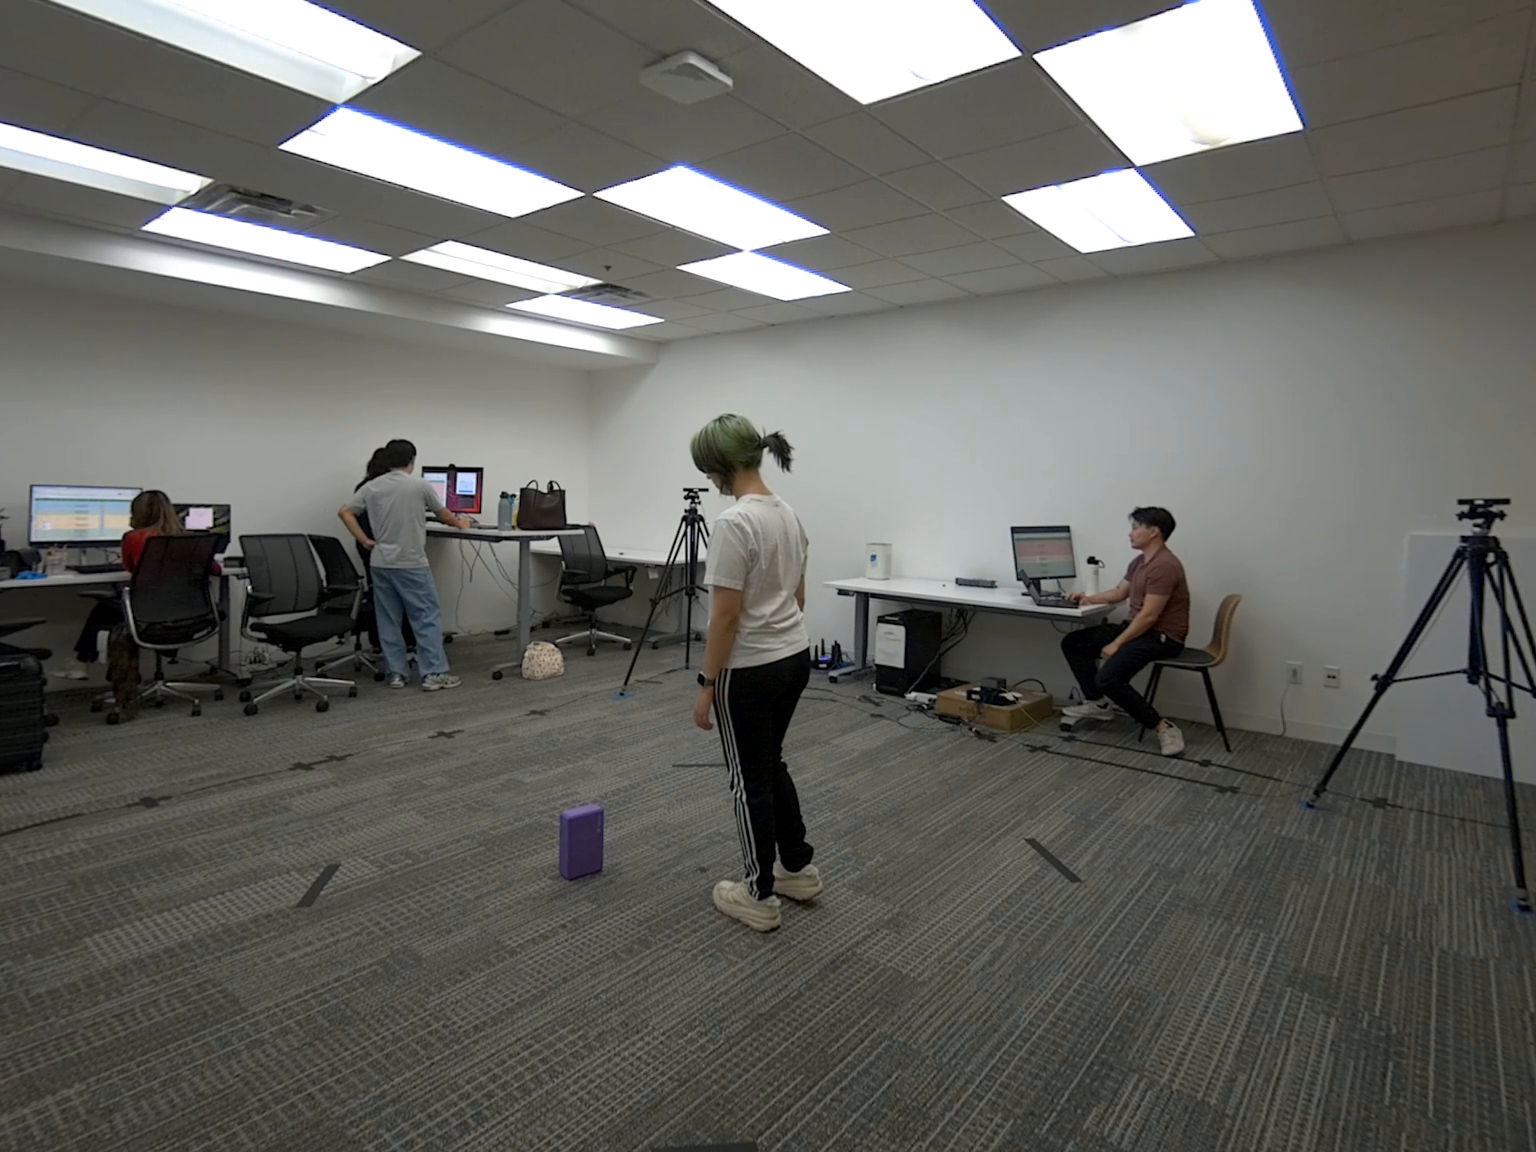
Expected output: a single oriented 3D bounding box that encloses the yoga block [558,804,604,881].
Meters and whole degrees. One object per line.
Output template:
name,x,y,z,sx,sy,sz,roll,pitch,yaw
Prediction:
yoga block,-0.679,0.949,3.053,0.144,0.228,0.079,-2,5,-42
